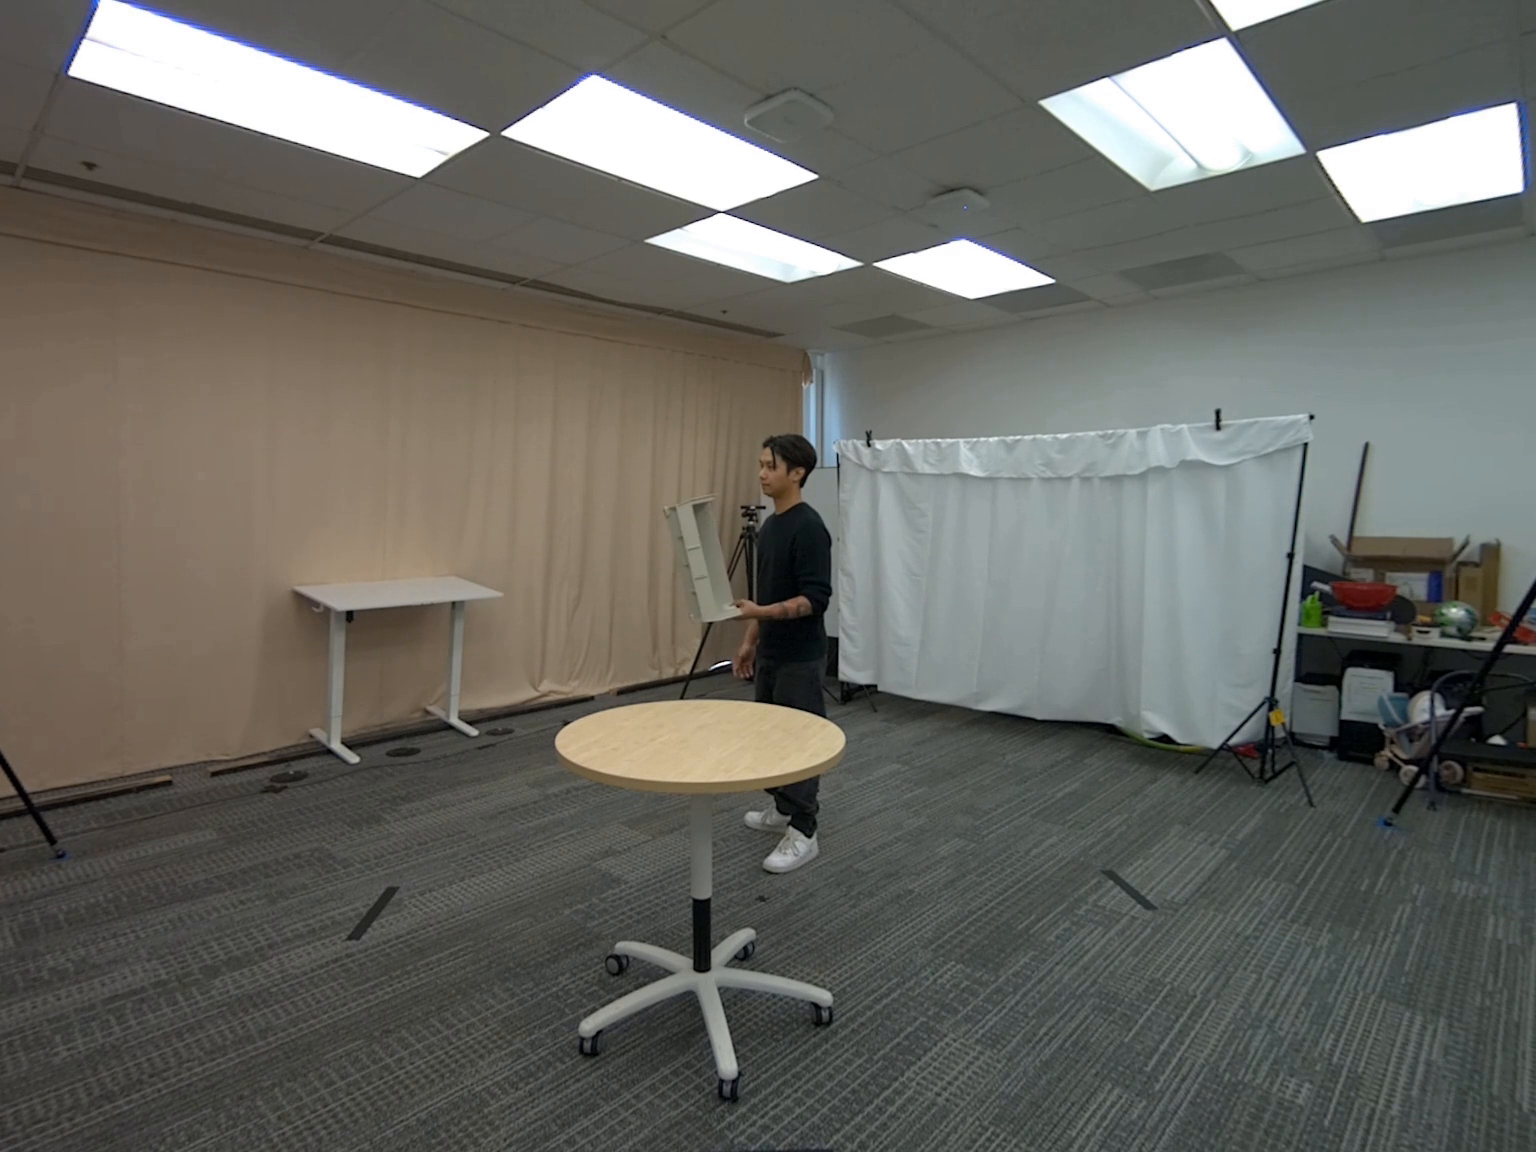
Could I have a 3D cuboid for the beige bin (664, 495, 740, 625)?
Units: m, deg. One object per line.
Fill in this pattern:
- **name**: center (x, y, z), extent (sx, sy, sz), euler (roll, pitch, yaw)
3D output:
- **beige bin**: center (-0.227, -0.050, 2.994), extent (0.188, 0.422, 0.378), euler (-13, 1, -4)
